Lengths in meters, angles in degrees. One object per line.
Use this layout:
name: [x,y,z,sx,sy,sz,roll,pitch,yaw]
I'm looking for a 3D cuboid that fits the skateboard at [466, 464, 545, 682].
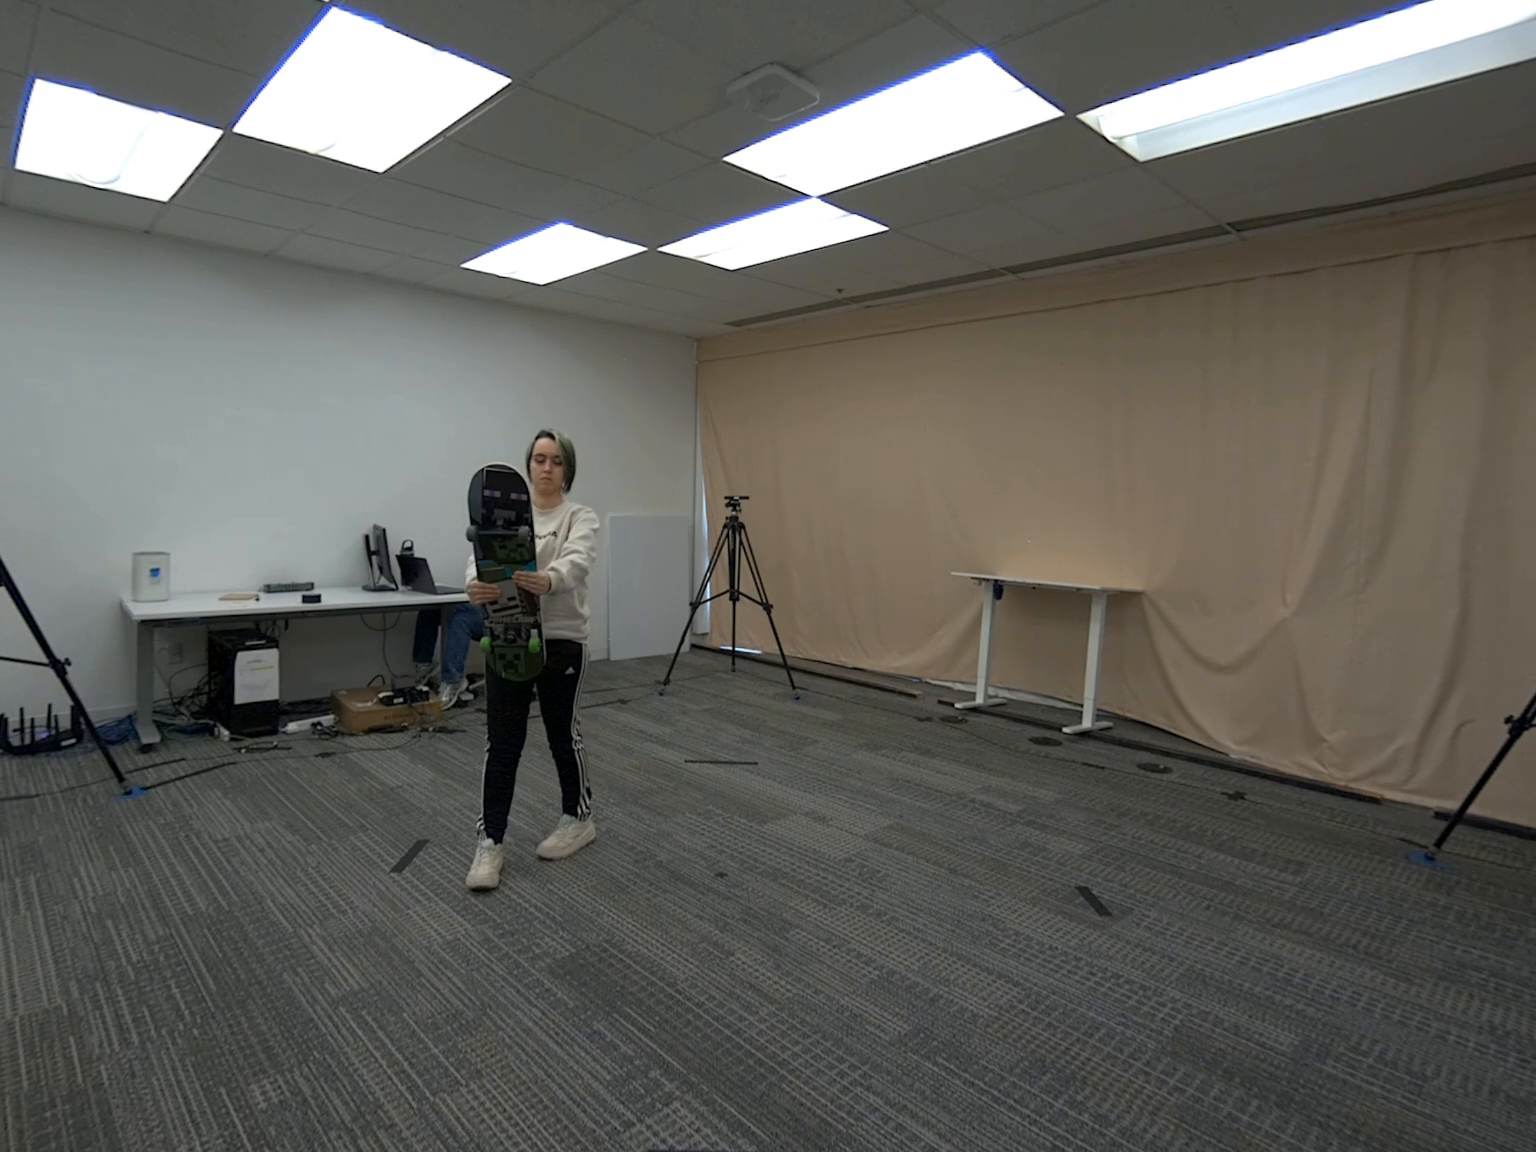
skateboard: [-0.849,0.034,2.633,0.193,0.772,0.112,1,27,-1]
